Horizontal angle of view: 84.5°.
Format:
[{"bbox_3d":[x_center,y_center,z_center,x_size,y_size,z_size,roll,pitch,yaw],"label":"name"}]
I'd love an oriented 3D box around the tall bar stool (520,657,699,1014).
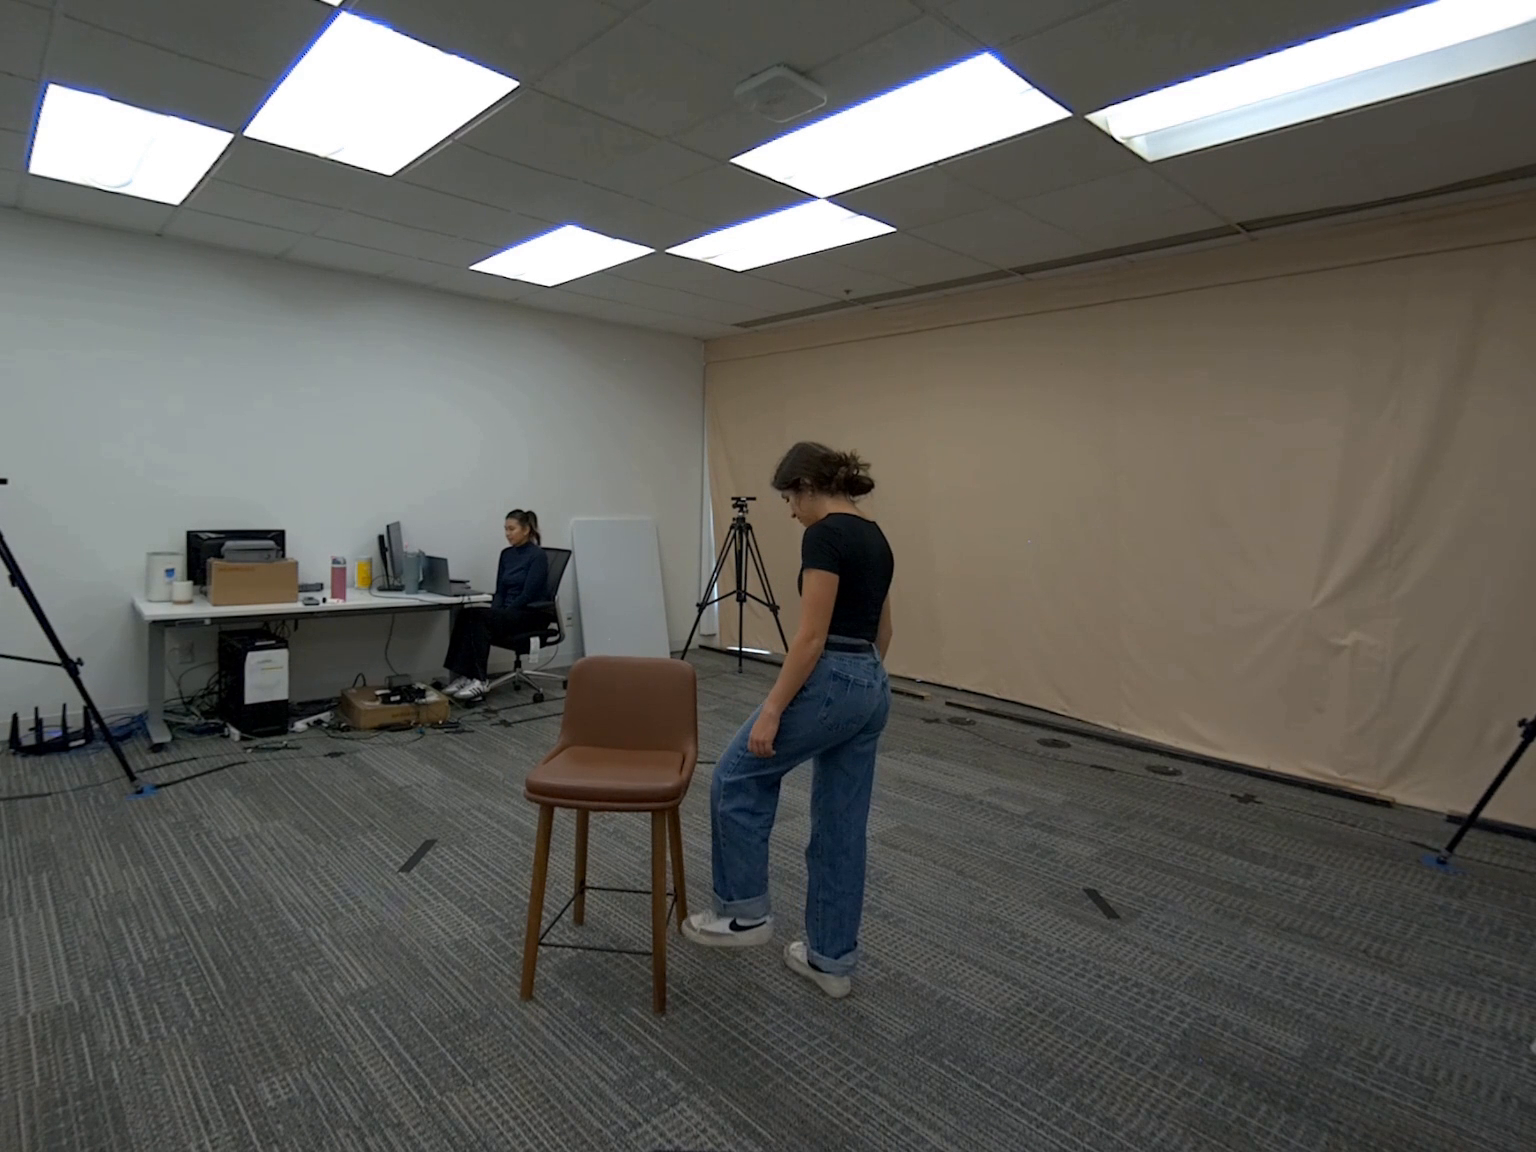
[{"bbox_3d":[-0.460,0.723,2.487,0.460,0.889,0.465,1,1,8],"label":"tall bar stool"}]
